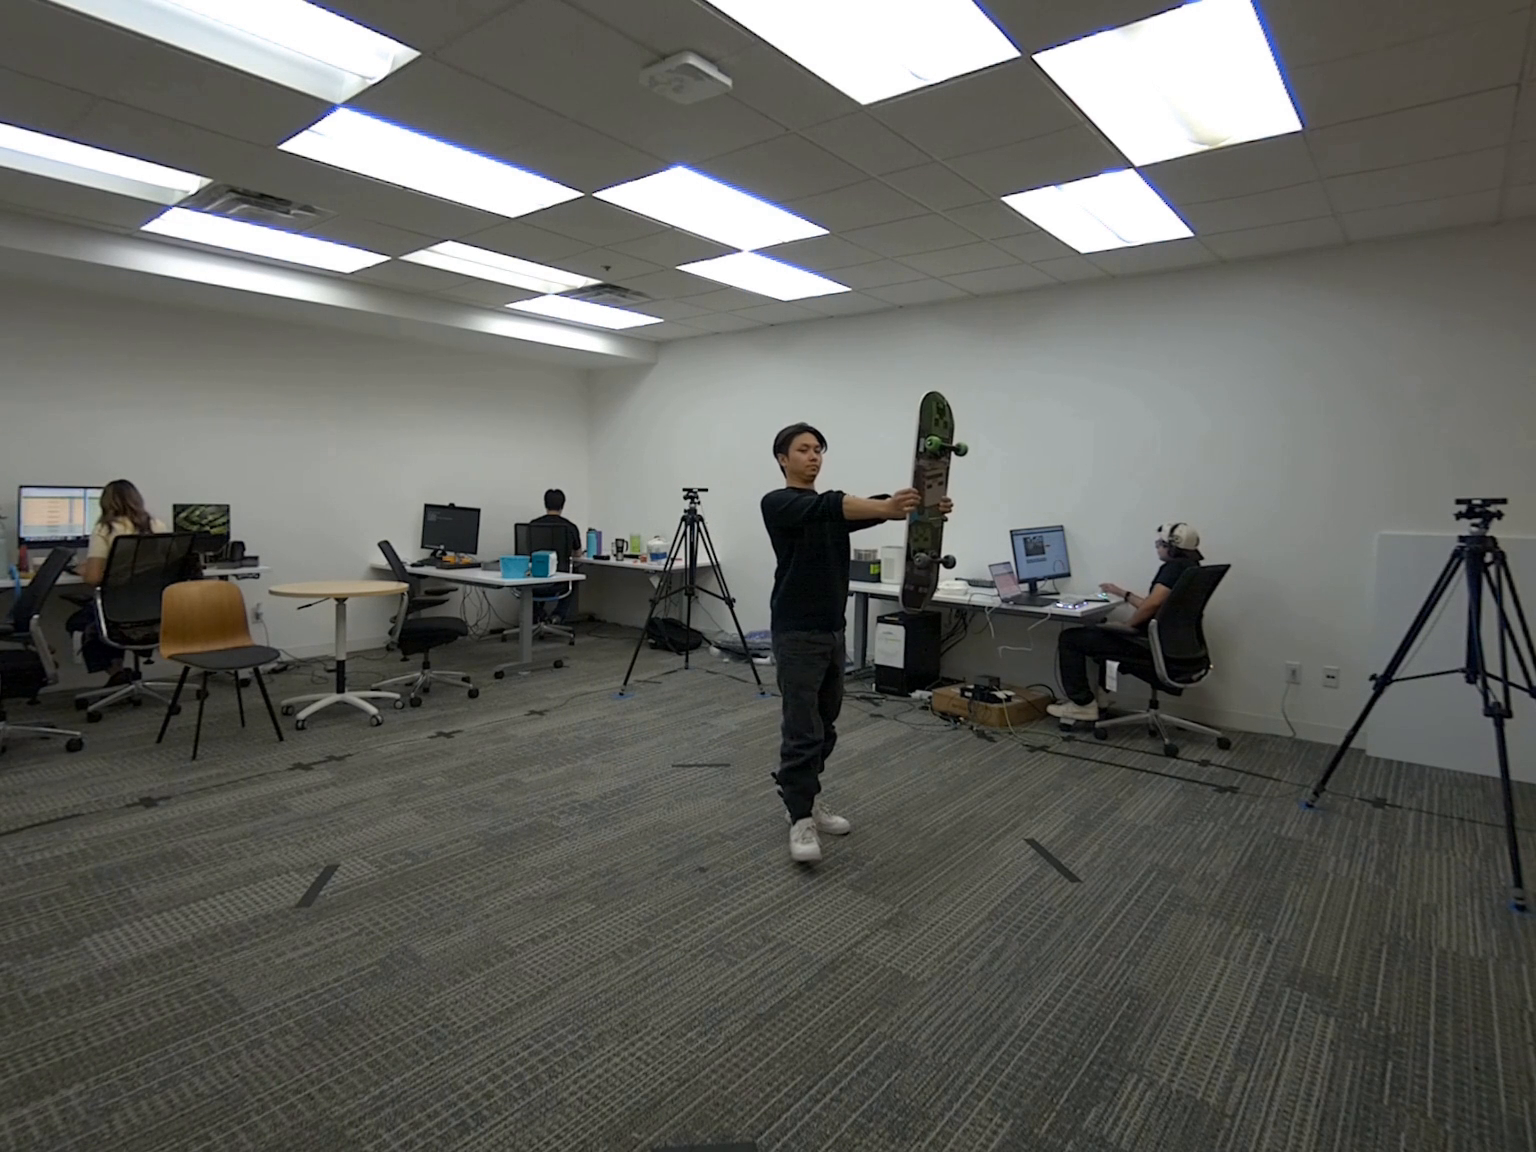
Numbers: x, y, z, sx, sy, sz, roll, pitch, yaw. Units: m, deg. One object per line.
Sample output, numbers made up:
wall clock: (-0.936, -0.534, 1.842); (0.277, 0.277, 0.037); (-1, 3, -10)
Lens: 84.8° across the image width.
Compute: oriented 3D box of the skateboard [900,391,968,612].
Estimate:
skateboard: (0.569, -0.255, 2.968); (0.187, 0.784, 0.114); (5, 2, -39)
